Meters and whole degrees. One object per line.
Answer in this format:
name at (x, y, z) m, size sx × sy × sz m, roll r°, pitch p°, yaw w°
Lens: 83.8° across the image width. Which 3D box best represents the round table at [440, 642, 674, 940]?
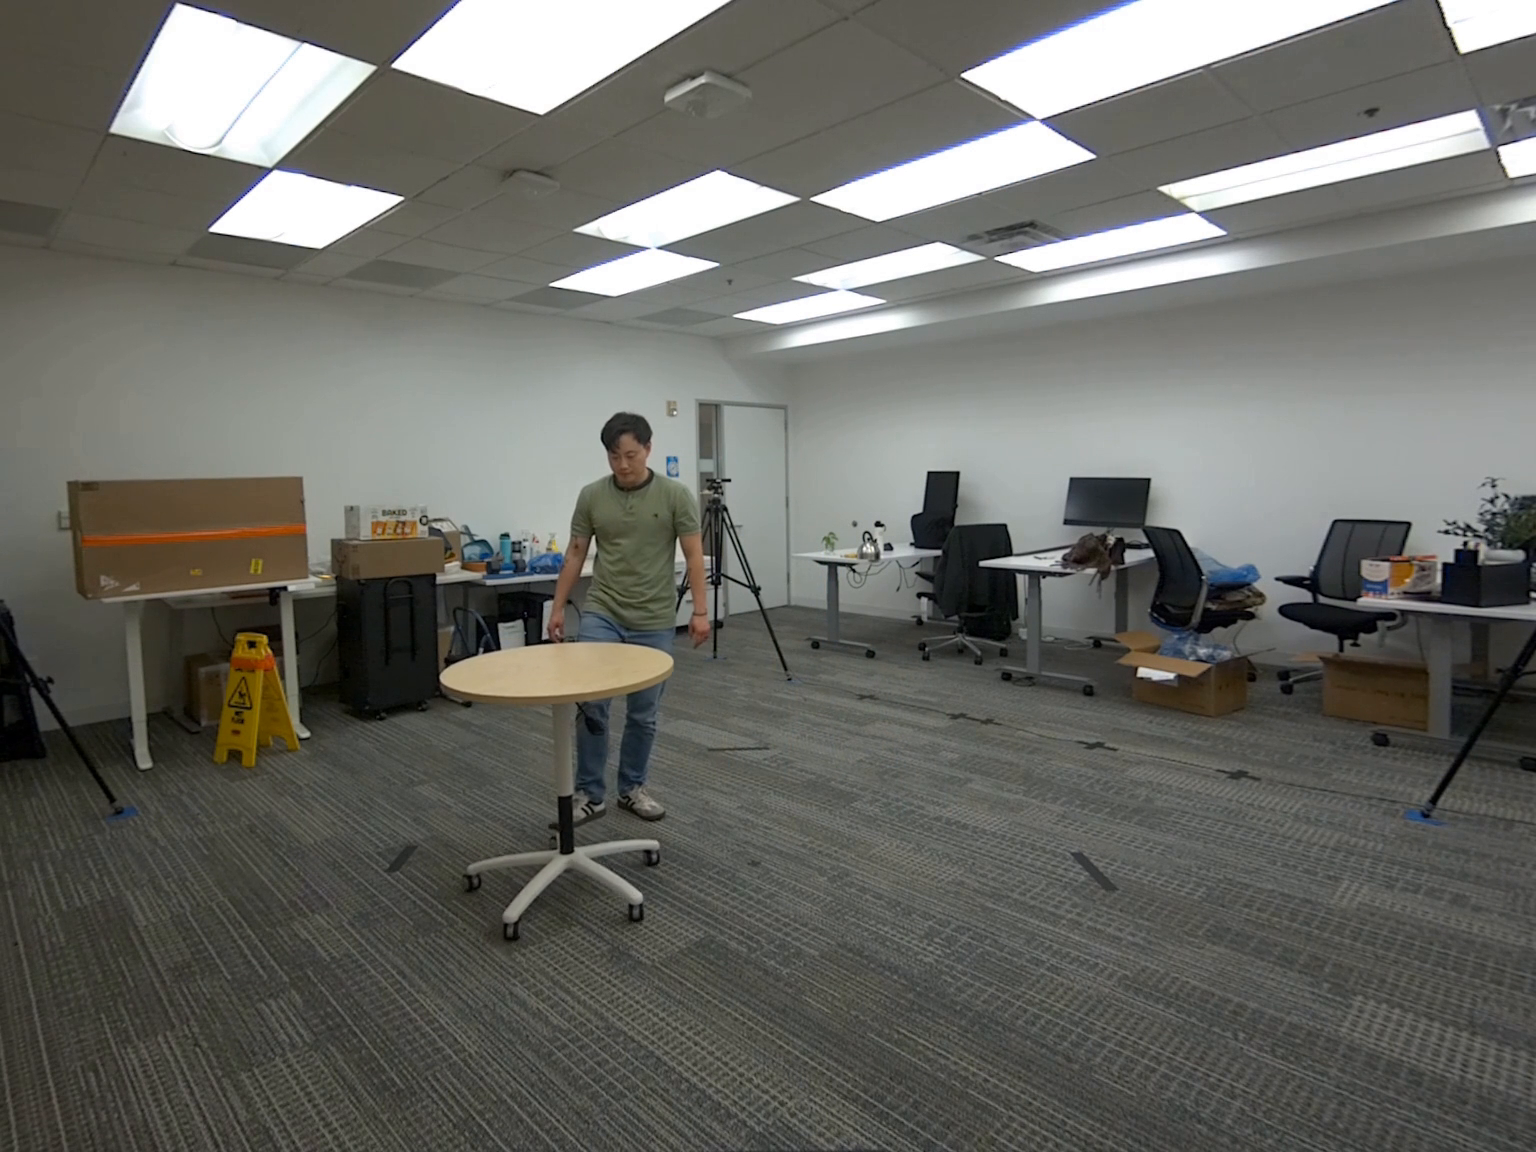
round table at (-0.693, 0.695, 2.895) m, size 0.763 × 0.790 × 0.768 m, roll -2°, pitch 5°, yaw -2°
